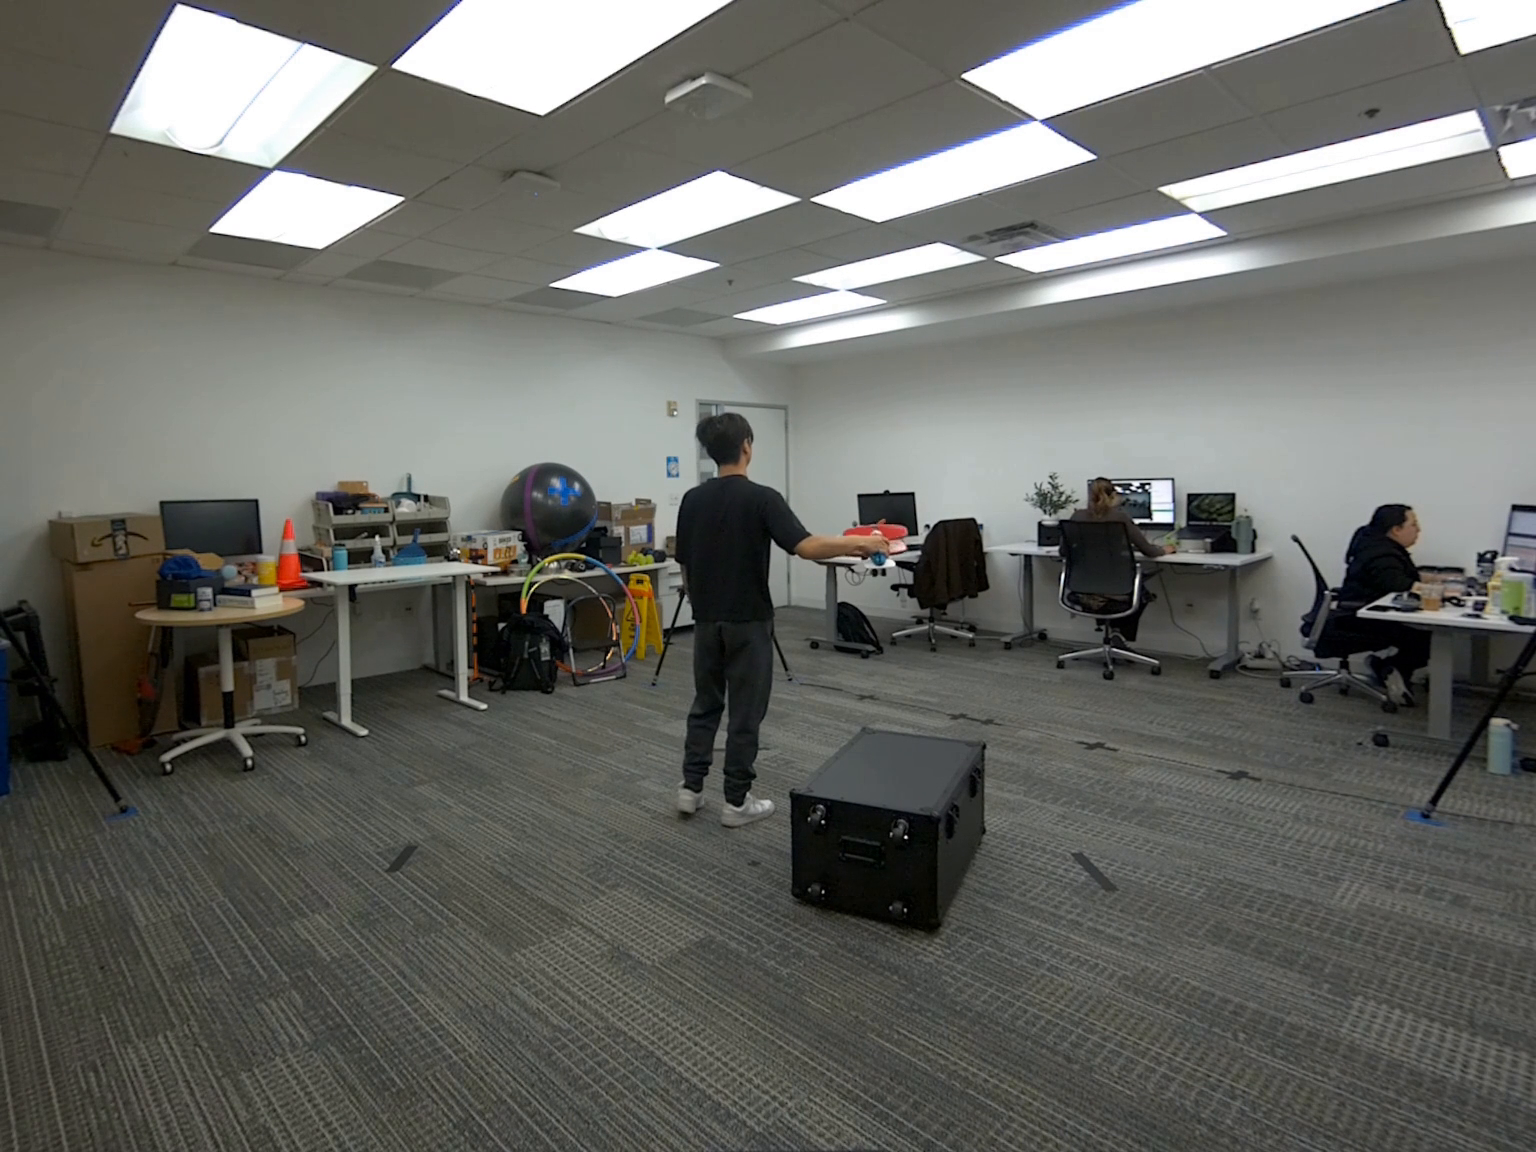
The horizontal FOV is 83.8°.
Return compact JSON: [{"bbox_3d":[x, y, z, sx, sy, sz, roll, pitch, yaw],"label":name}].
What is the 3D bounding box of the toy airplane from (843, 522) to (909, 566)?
[{"bbox_3d":[0.456,-0.120,3.433,0.247,0.153,0.268,-17,25,-22],"label":"toy airplane"}]
